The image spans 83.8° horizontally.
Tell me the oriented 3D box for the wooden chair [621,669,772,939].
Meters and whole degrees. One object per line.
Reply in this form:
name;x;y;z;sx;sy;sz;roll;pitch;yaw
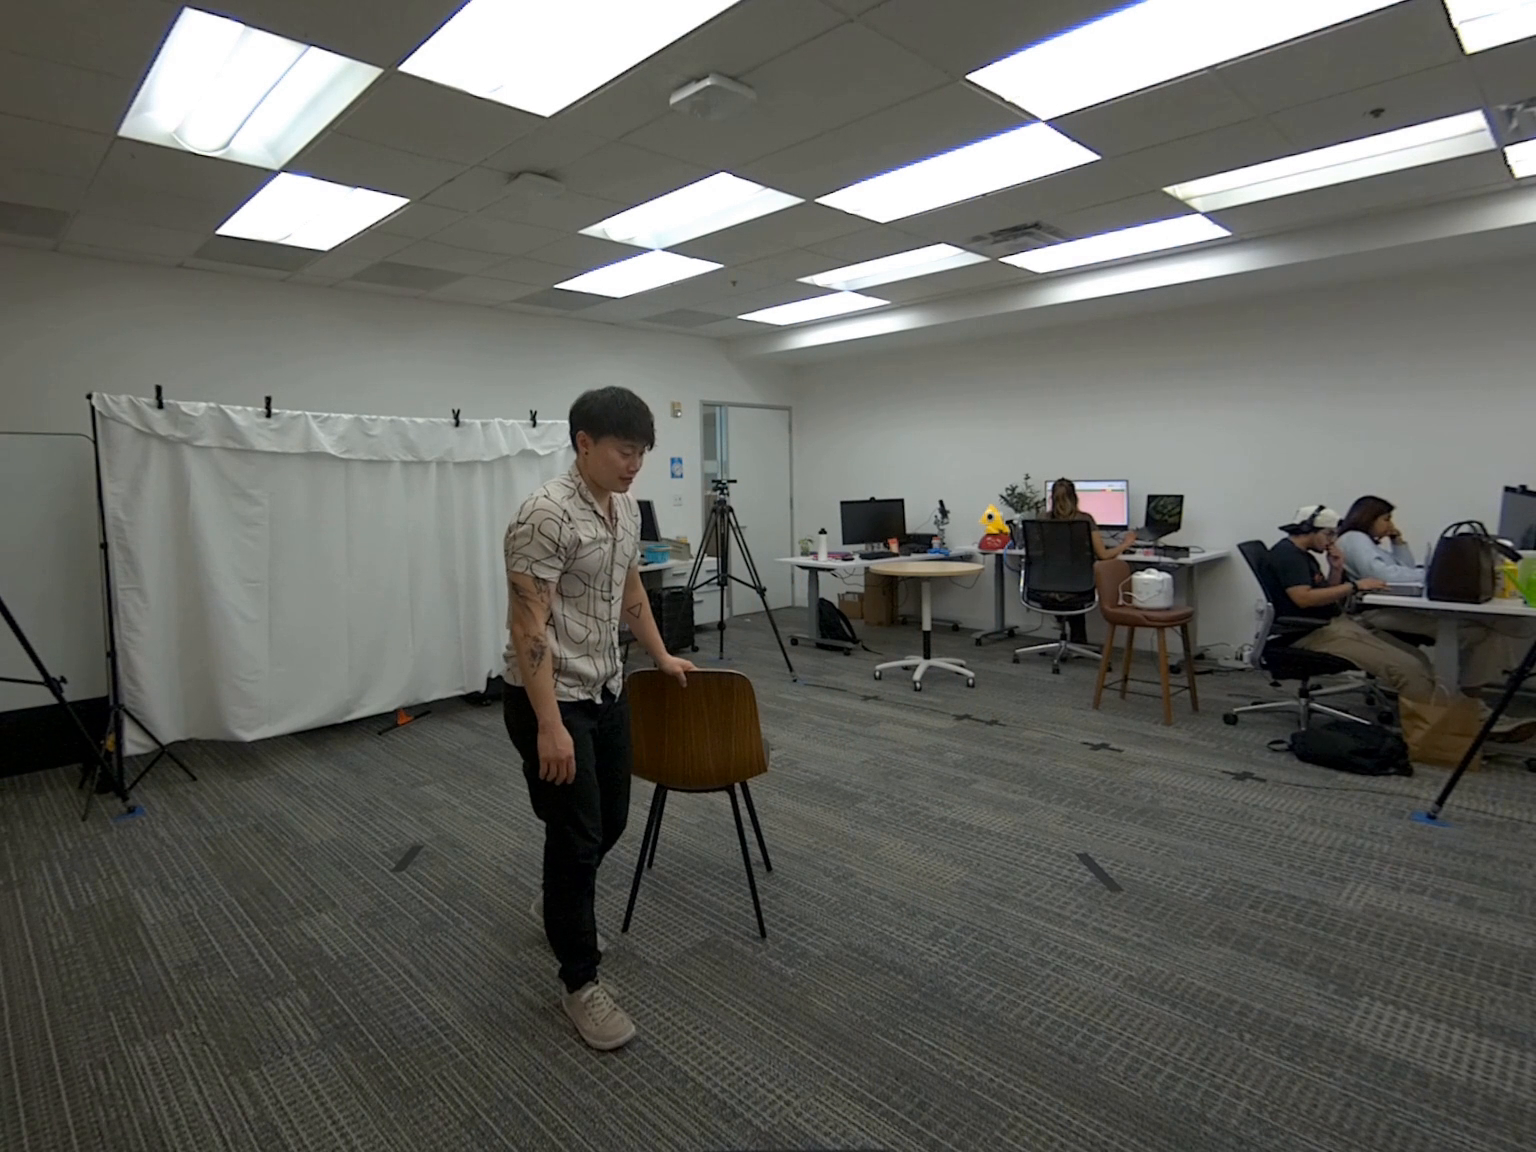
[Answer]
wooden chair;-0.229;0.654;2.827;0.480;0.870;0.525;-1;9;4
